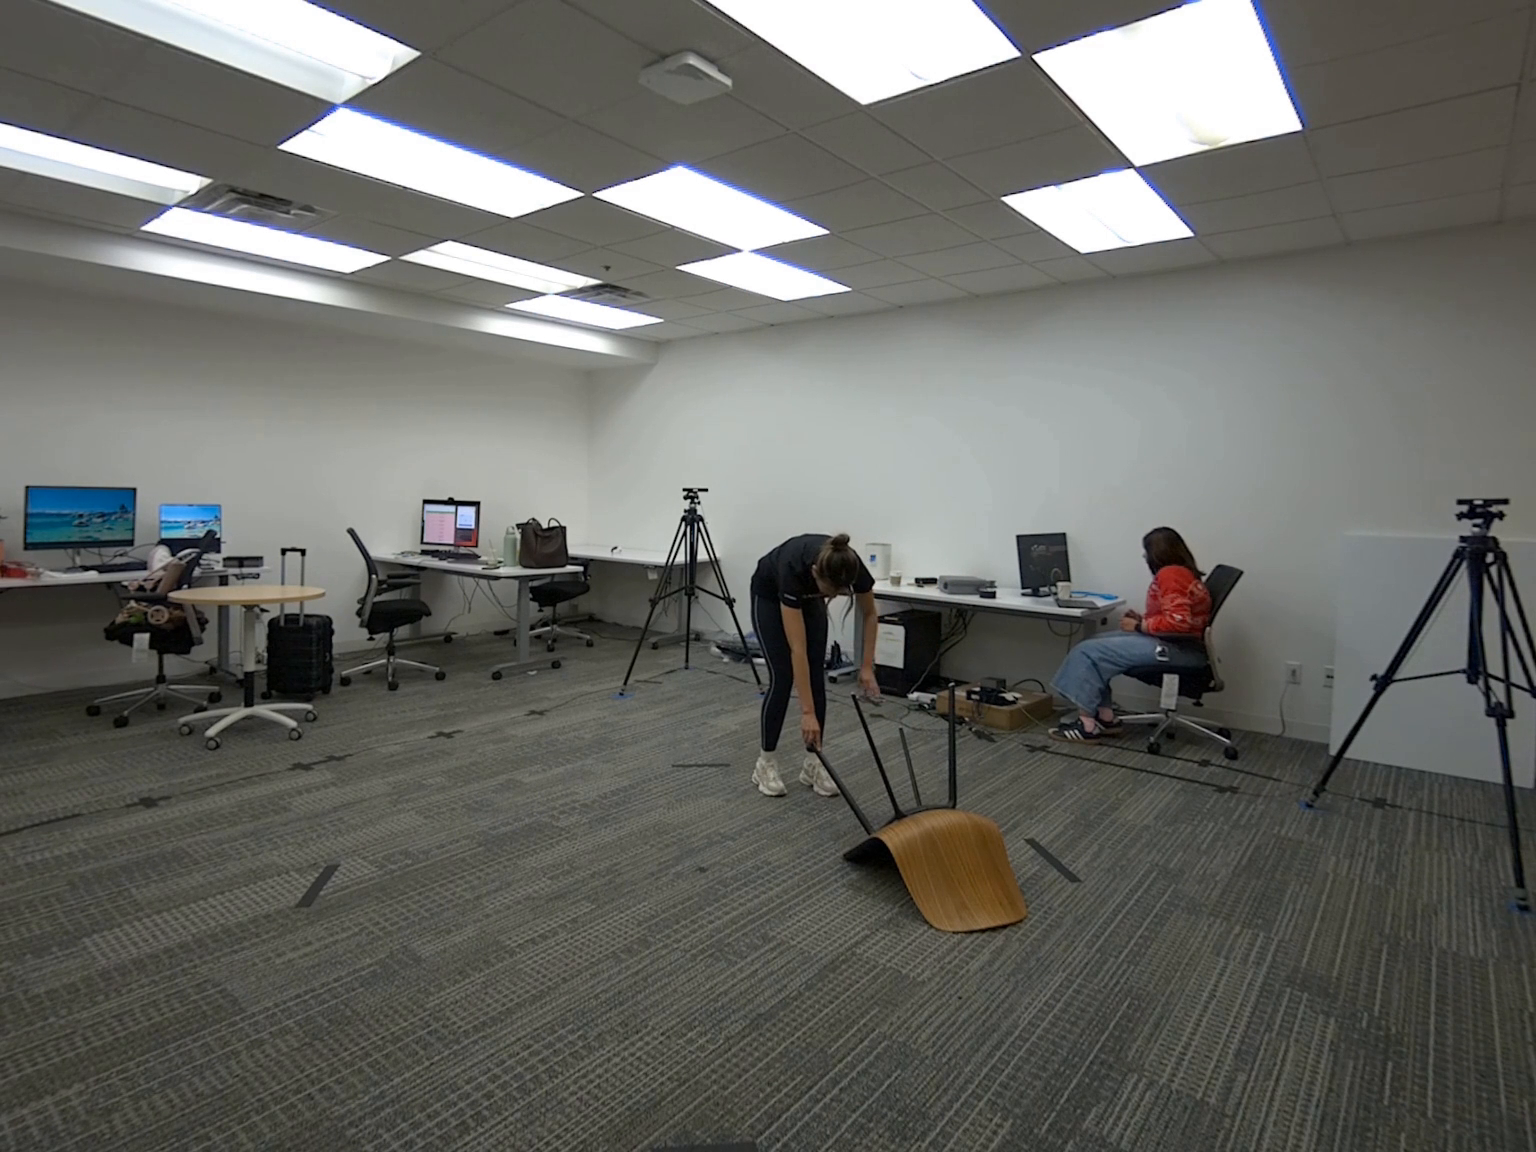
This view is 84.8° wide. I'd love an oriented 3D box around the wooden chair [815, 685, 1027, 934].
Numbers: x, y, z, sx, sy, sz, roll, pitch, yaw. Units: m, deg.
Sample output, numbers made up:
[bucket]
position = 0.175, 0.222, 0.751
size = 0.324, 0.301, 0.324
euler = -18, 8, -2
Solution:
[wooden chair]
position = 0.530, 0.911, 3.163
size = 0.468, 0.906, 0.517
euler = -1, -34, -23
